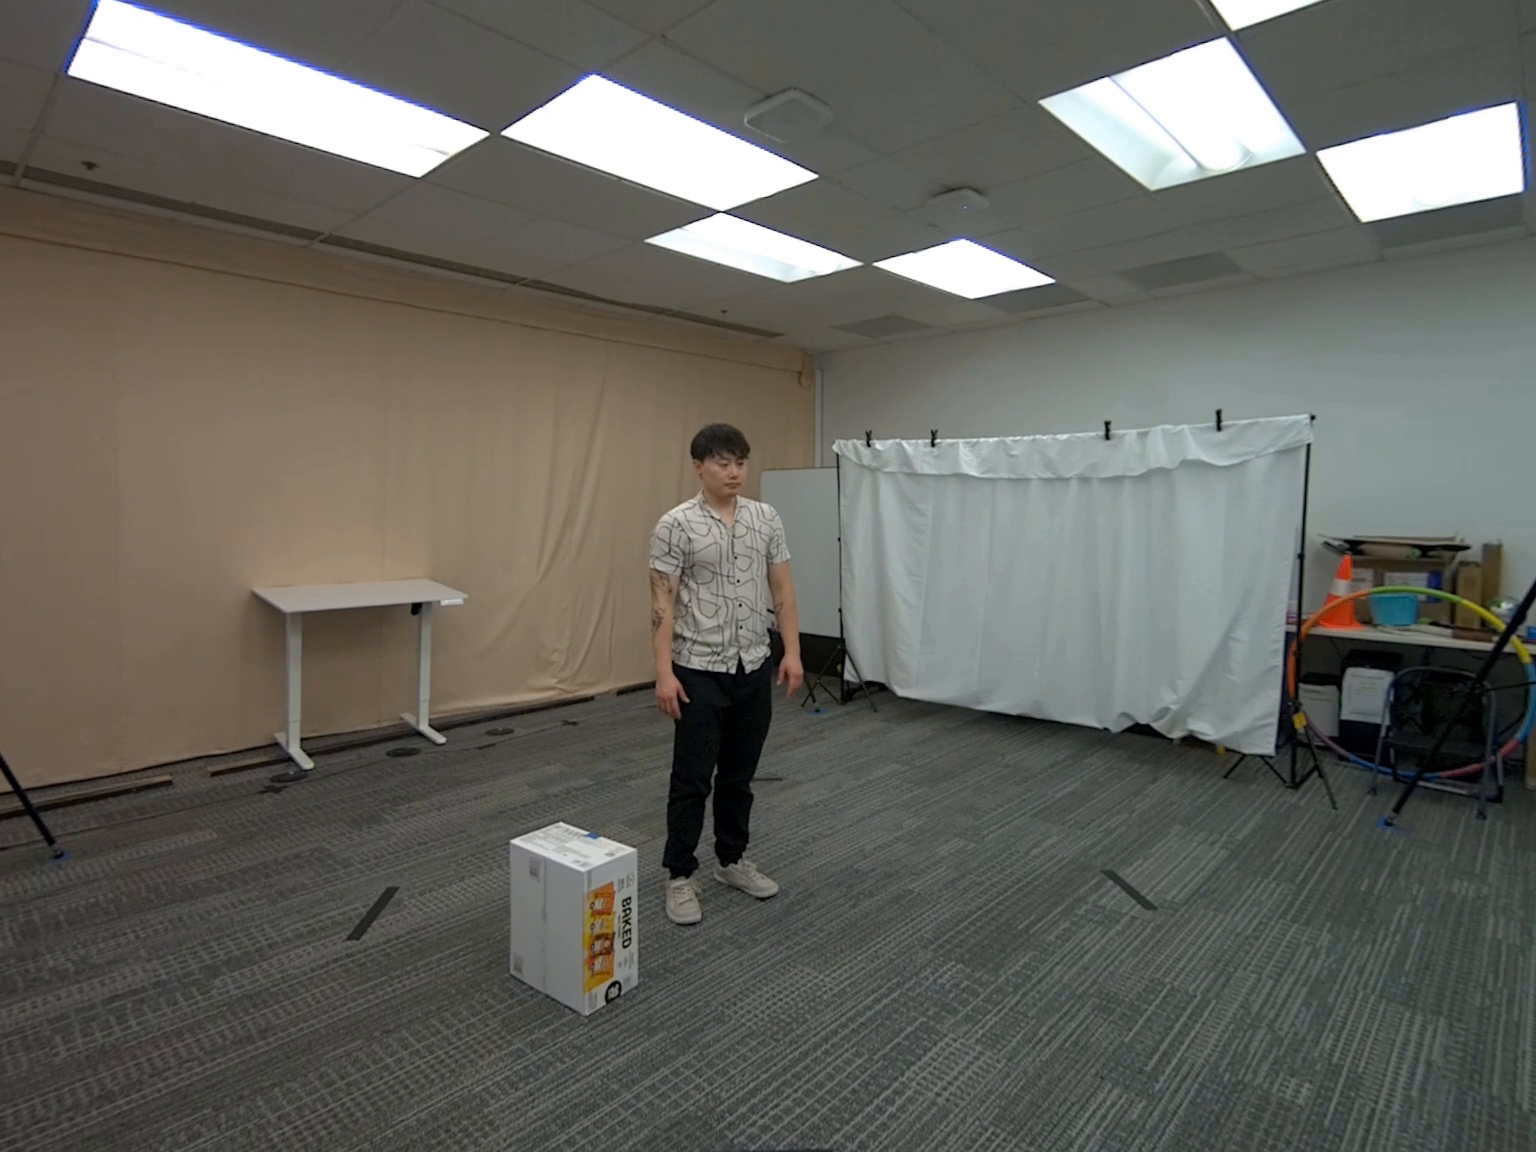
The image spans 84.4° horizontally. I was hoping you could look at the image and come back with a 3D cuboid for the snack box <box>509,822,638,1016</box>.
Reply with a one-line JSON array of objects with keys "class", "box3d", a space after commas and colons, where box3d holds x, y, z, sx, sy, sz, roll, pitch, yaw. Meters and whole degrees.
[{"class": "snack box", "box3d": [-0.571, 0.992, 2.466, 0.351, 0.404, 0.199, 2, 3, 38]}]
